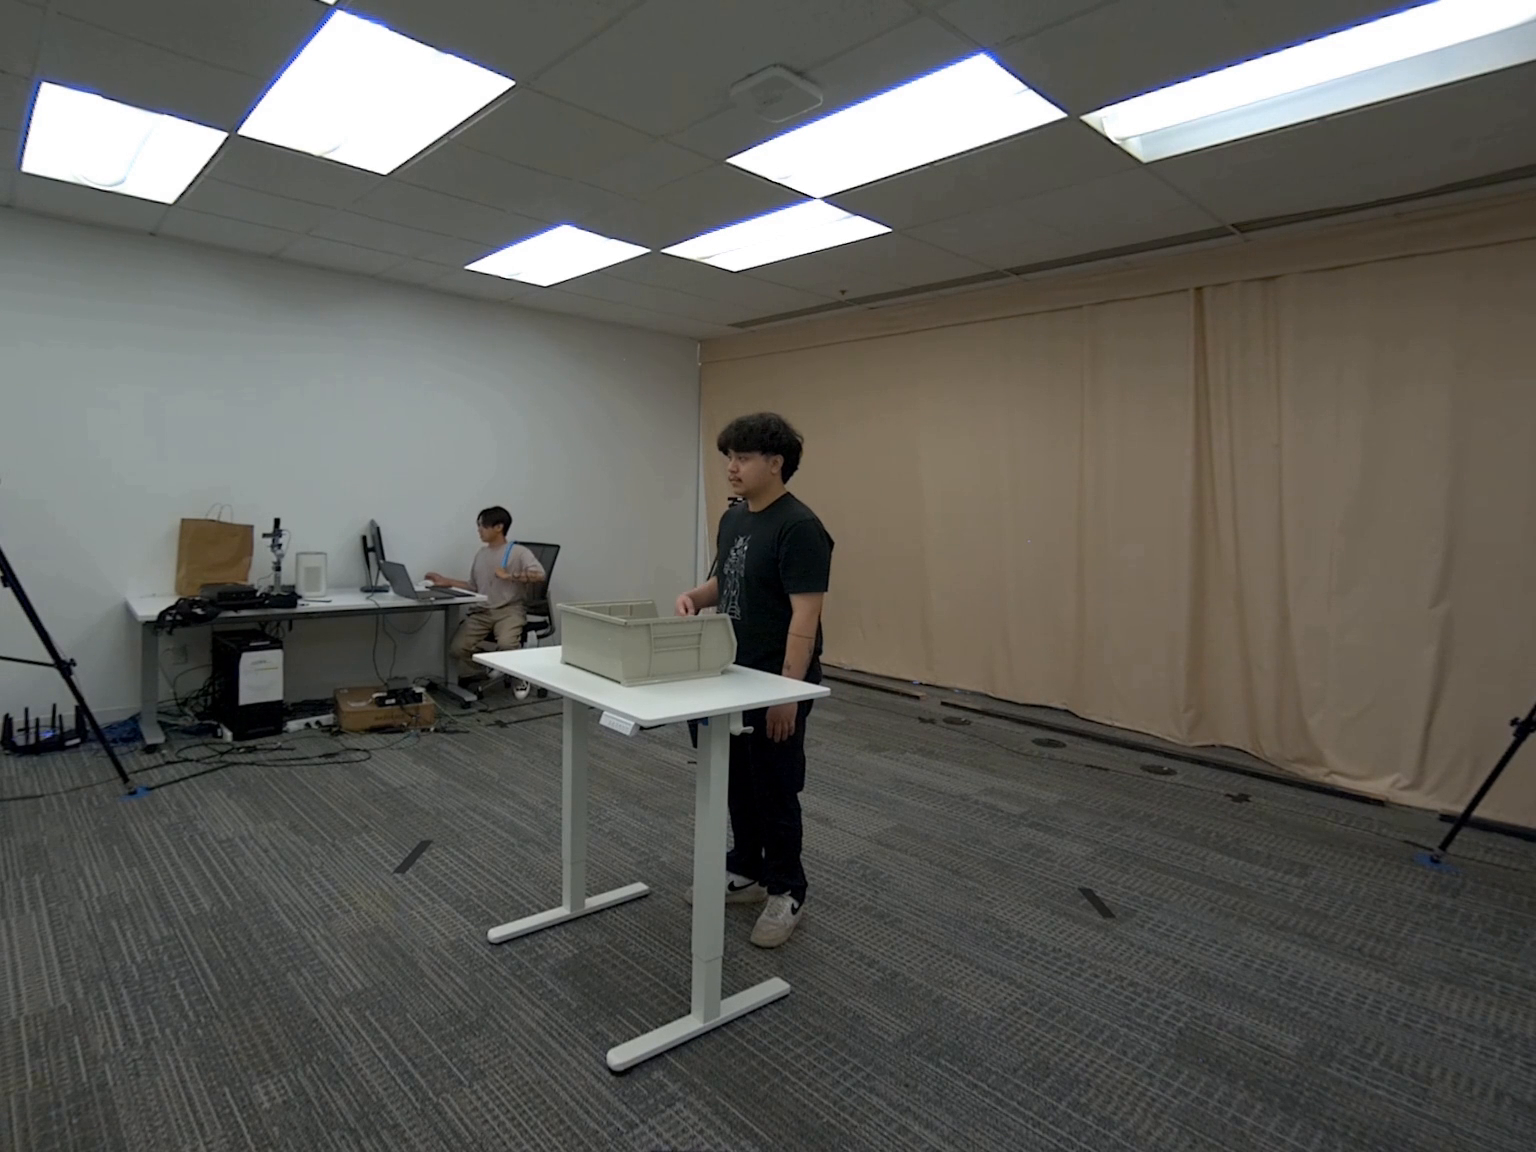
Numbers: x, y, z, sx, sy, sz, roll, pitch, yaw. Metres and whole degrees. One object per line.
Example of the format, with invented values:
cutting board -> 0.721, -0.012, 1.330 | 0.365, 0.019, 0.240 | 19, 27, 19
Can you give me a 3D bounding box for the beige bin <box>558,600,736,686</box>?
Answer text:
beige bin -> -0.370, 0.187, 2.500 | 0.369, 0.188, 0.433 | -3, 7, -36
